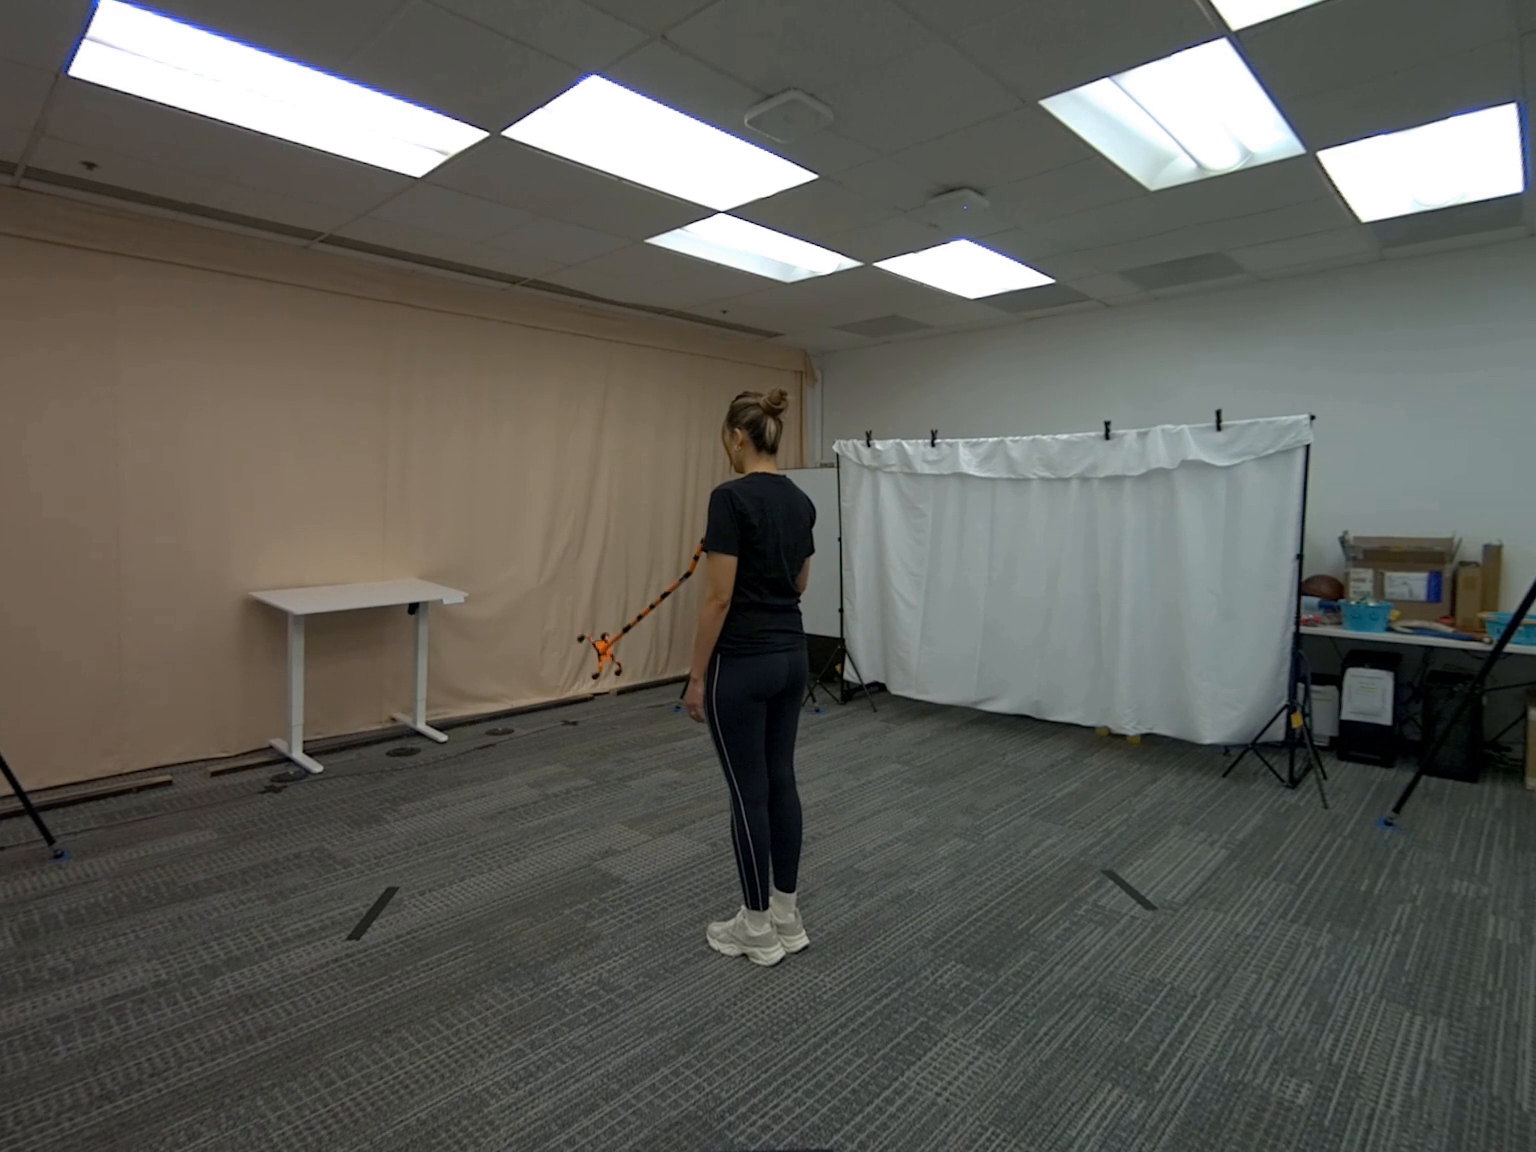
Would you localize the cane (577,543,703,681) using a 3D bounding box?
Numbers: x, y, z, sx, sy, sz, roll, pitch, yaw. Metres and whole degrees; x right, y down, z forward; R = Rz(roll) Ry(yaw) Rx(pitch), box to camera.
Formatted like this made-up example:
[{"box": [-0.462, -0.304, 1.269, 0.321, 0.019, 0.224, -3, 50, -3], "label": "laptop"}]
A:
[{"box": [-0.443, 0.128, 3.326, 0.147, 0.211, 0.918, -1, -31, -46], "label": "cane"}]
